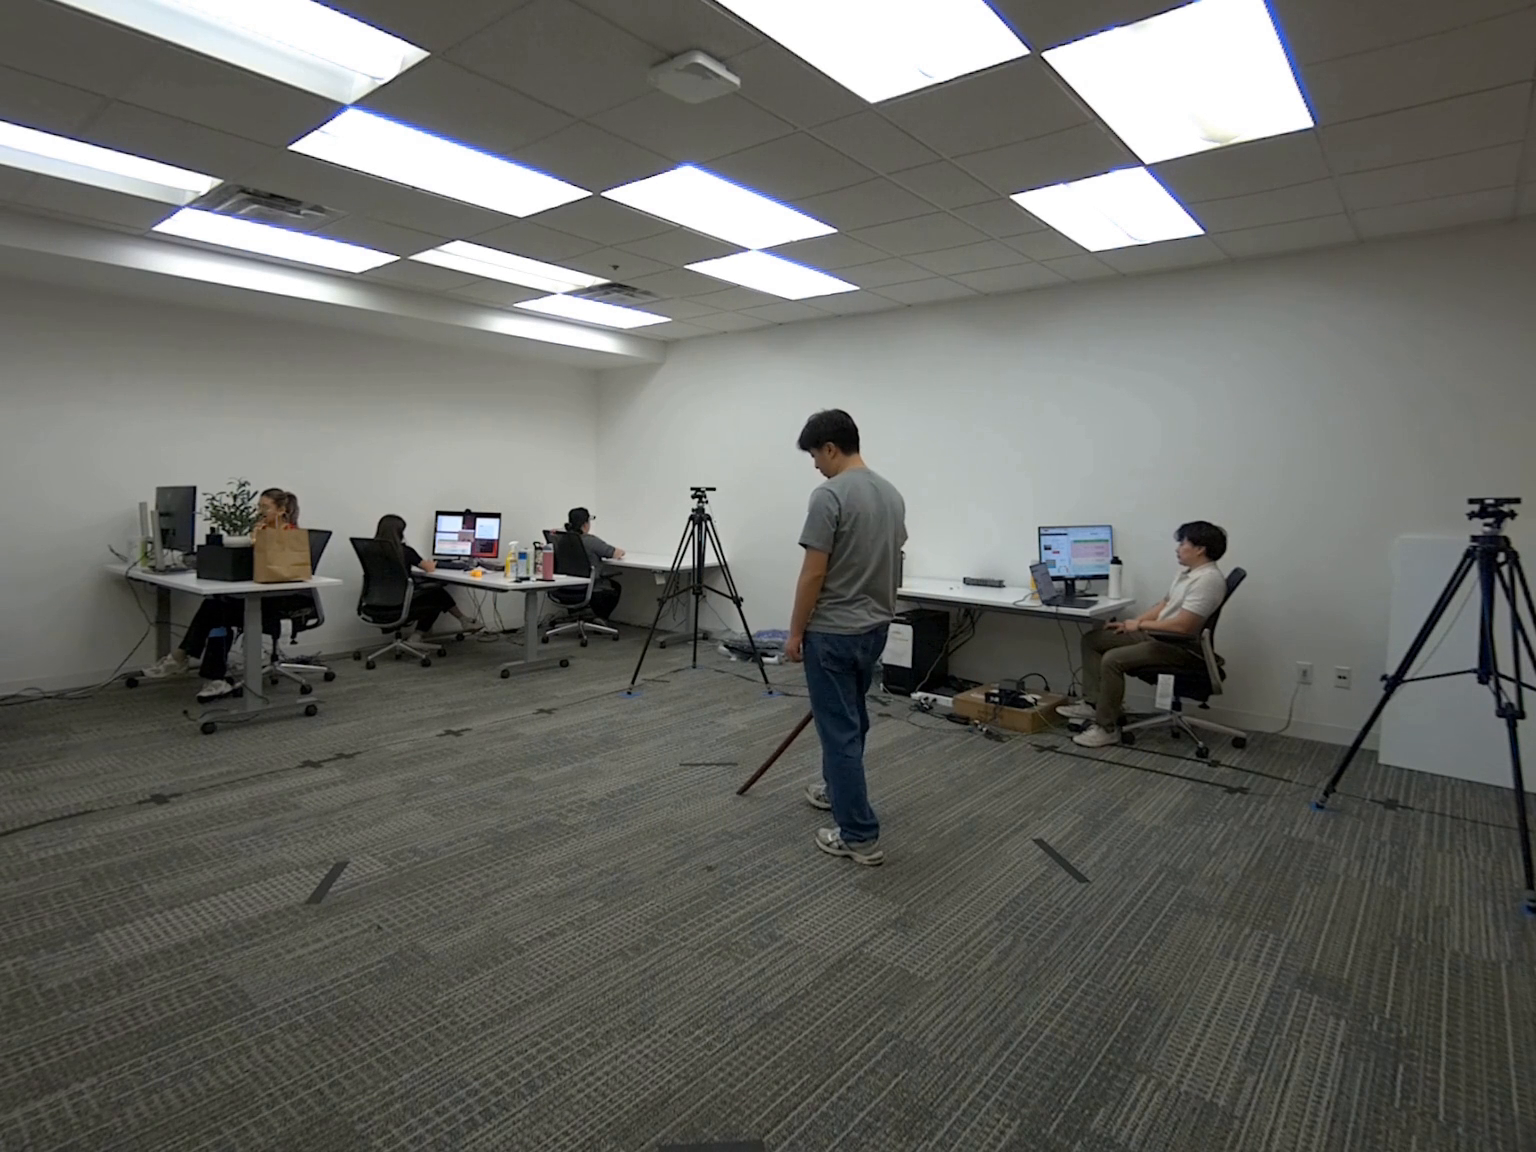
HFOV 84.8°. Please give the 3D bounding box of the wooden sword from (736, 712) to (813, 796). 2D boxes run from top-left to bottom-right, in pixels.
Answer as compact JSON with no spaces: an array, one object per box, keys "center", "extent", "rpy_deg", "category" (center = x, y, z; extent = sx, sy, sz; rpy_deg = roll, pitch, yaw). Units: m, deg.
[{"center":[0.171,0.613,3.764],"extent":[0.053,1.024,0.023],"rpy_deg":[47,15,27],"category":"wooden sword"}]
